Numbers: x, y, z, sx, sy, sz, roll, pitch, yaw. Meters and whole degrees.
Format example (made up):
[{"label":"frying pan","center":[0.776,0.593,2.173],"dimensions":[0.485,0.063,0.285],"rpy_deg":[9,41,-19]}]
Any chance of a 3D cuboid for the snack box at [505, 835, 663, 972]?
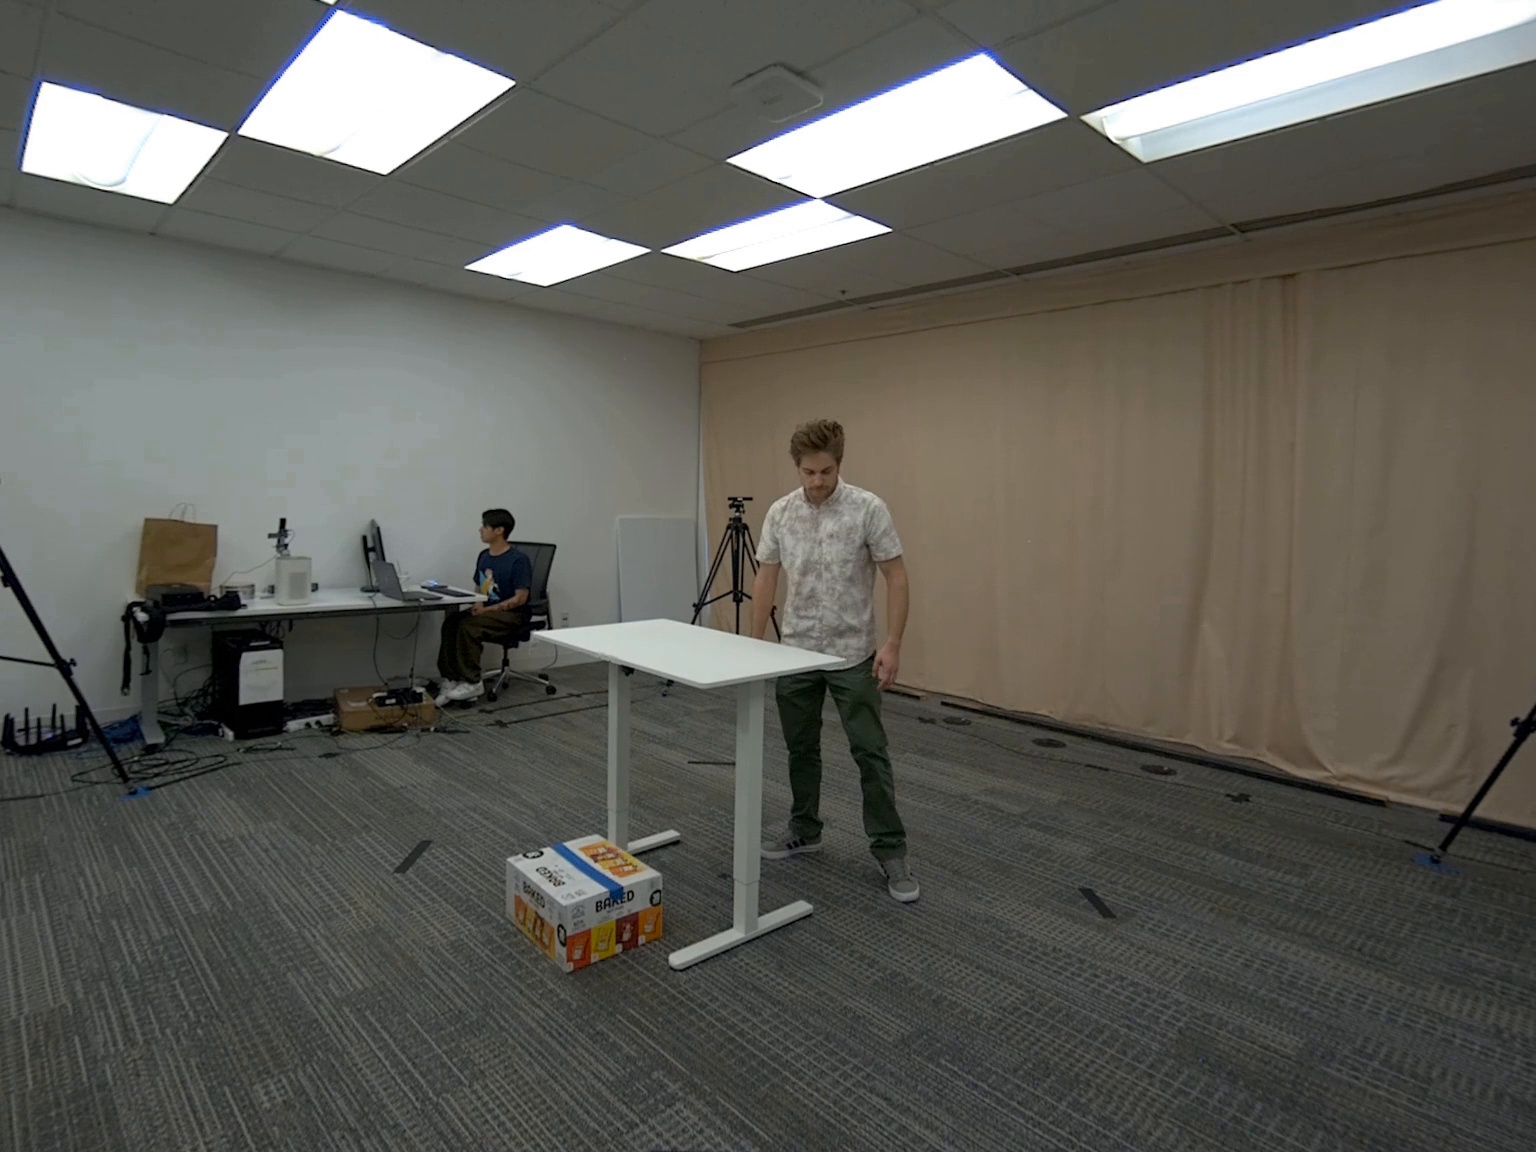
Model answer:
[{"label":"snack box","center":[-0.602,1.035,2.696],"dimensions":[0.332,0.205,0.415],"rpy_deg":[-3,6,-41]}]
